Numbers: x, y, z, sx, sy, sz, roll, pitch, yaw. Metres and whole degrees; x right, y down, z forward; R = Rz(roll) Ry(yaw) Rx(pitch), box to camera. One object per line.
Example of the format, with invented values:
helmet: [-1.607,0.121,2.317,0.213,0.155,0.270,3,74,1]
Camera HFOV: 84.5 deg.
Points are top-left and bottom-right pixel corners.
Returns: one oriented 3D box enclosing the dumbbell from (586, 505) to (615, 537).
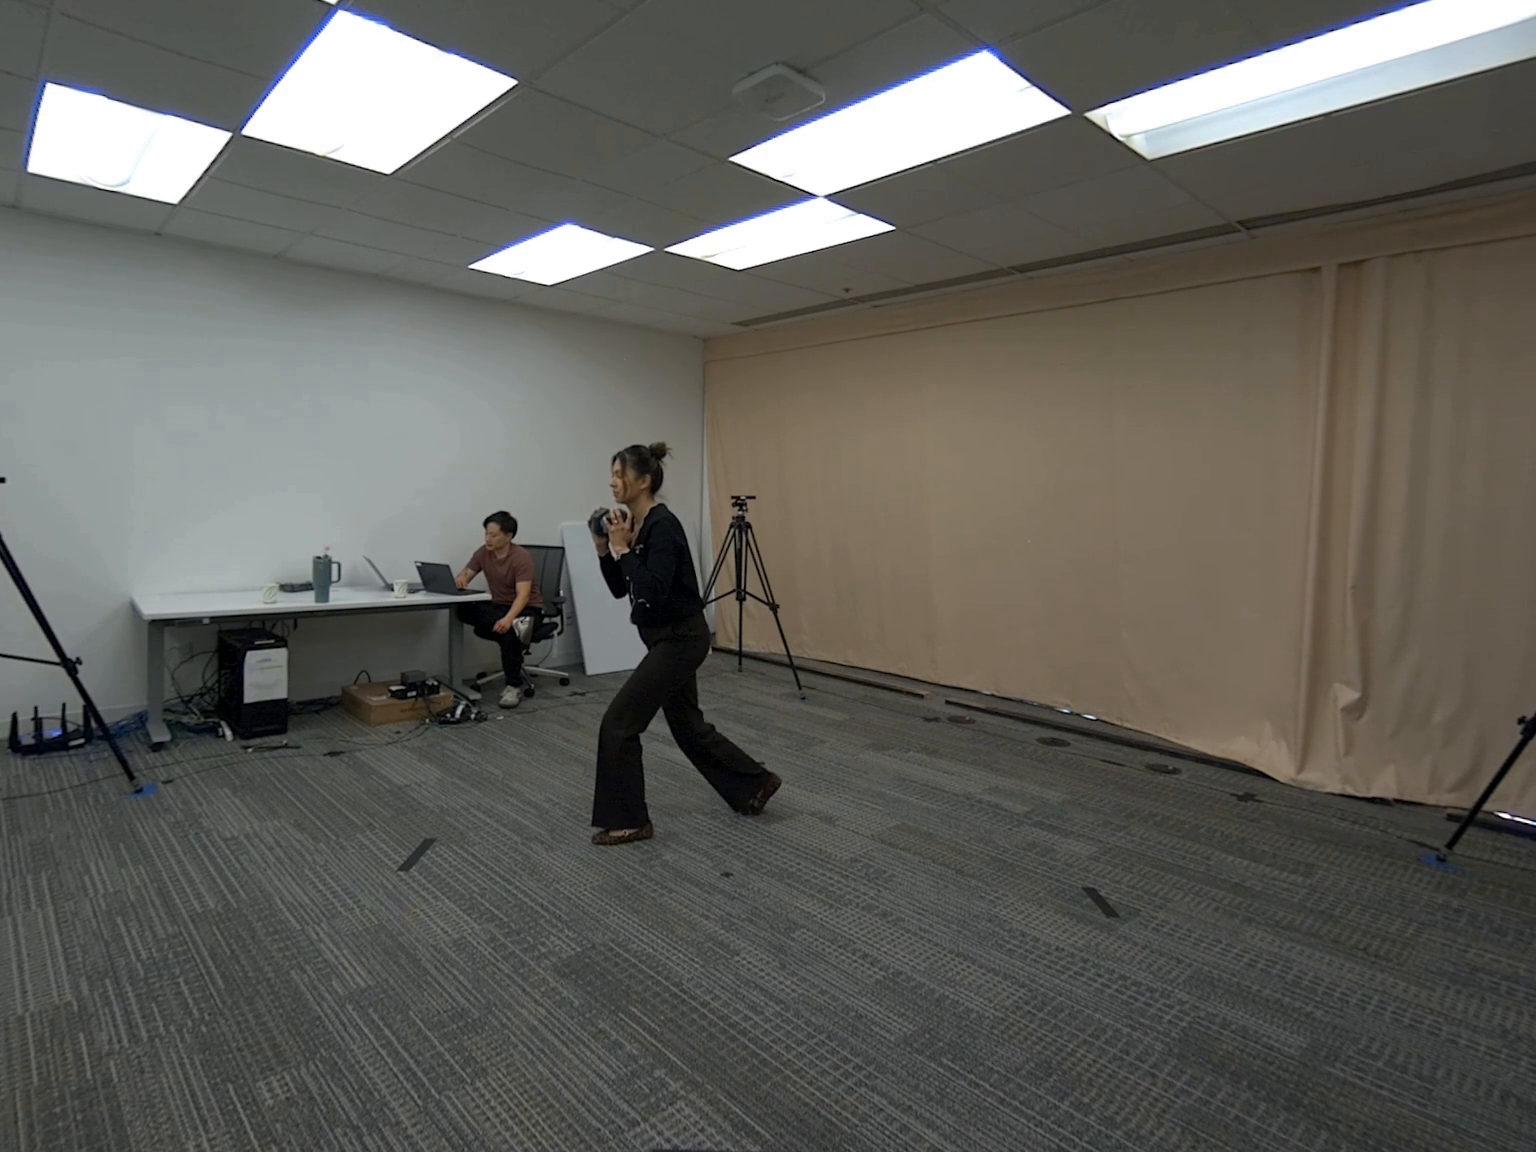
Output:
dumbbell: [-0.610,-0.196,3.327,0.120,0.109,0.299,30,-6,-22]
